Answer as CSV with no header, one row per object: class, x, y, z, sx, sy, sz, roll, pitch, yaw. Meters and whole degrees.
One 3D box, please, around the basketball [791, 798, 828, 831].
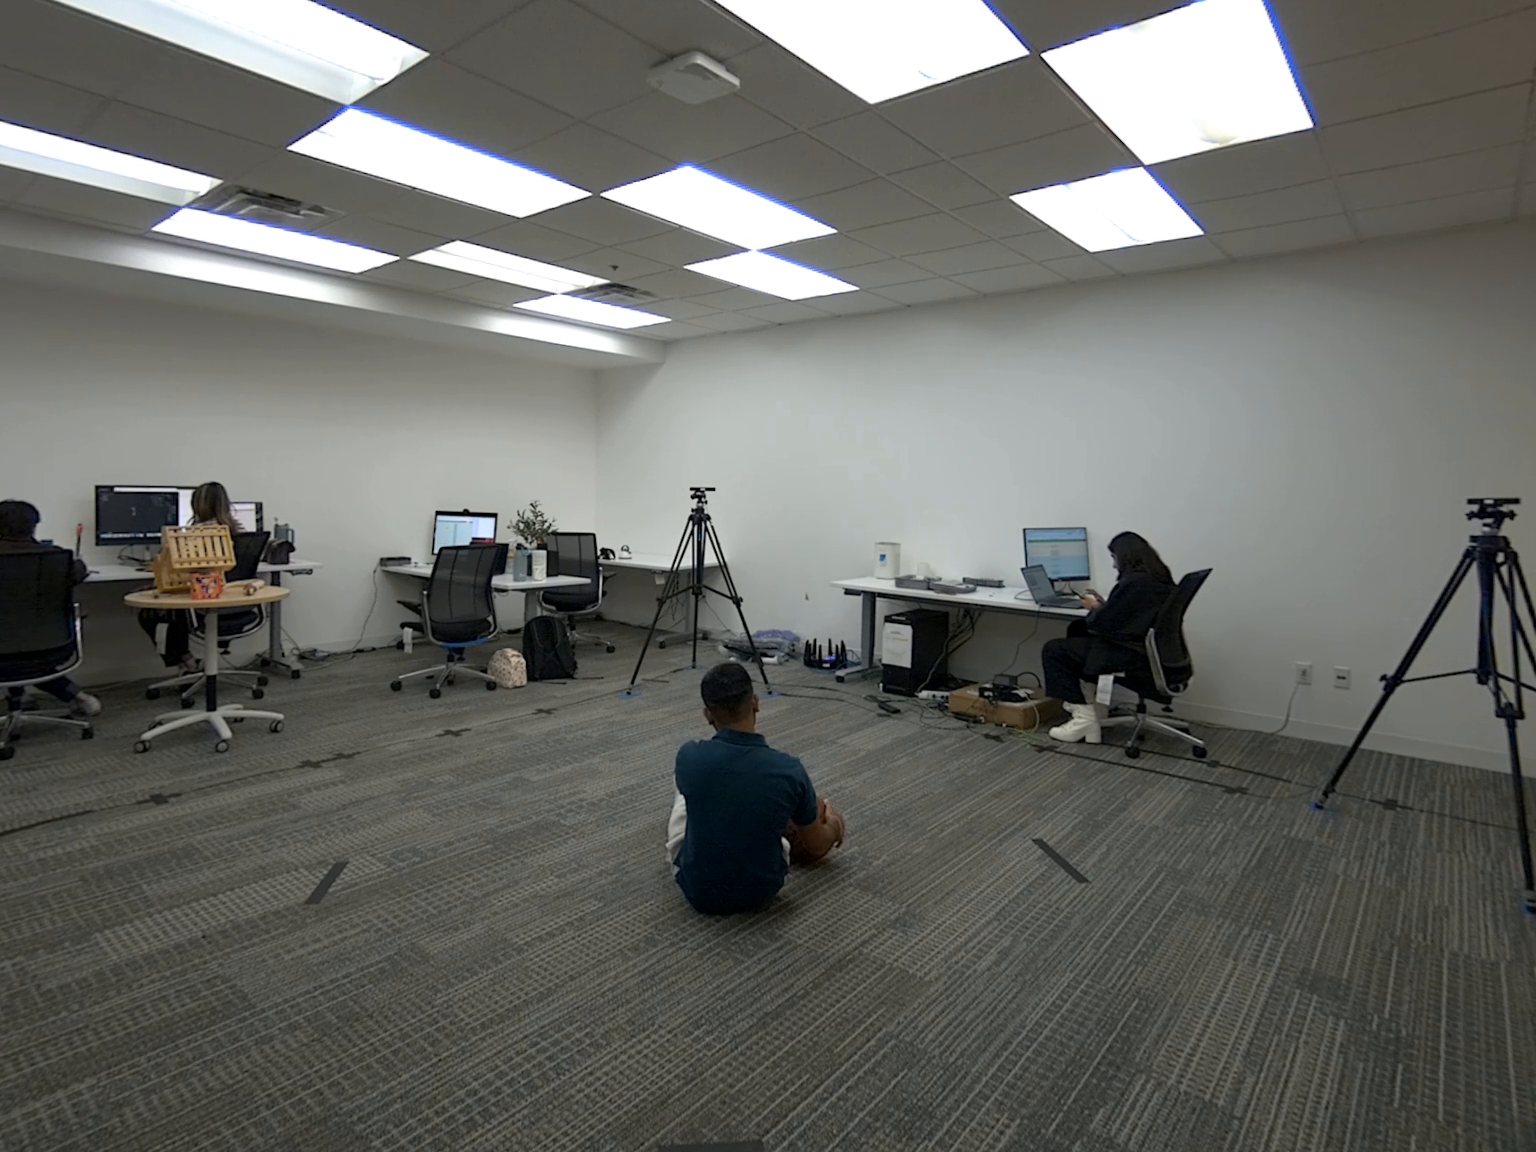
basketball,0.130,0.929,3.201,0.235,0.235,0.237,1,4,-2
